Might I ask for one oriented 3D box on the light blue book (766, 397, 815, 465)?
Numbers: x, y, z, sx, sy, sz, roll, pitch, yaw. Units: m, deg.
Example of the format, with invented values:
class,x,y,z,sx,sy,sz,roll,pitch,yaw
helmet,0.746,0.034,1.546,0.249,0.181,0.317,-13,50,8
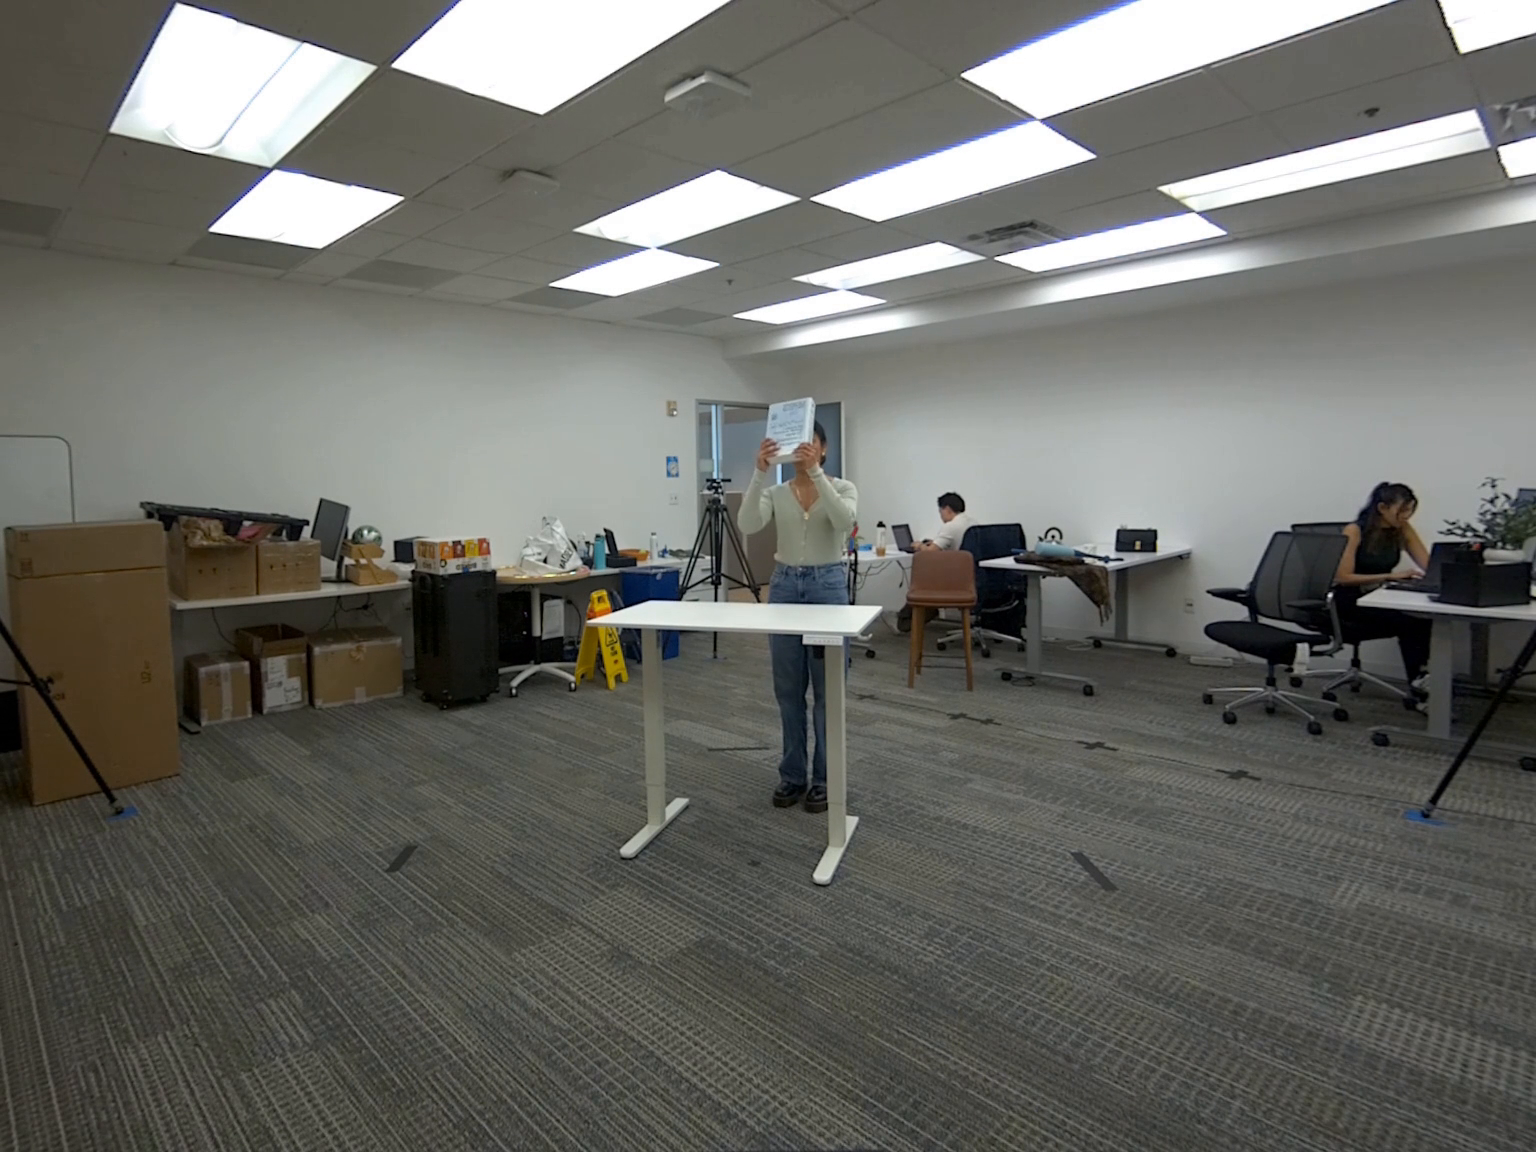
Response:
class,x,y,z,sx,sy,sz,roll,pitch,yaw
light blue book,0.092,-0.585,3.476,0.195,0.266,0.057,-7,-28,26
